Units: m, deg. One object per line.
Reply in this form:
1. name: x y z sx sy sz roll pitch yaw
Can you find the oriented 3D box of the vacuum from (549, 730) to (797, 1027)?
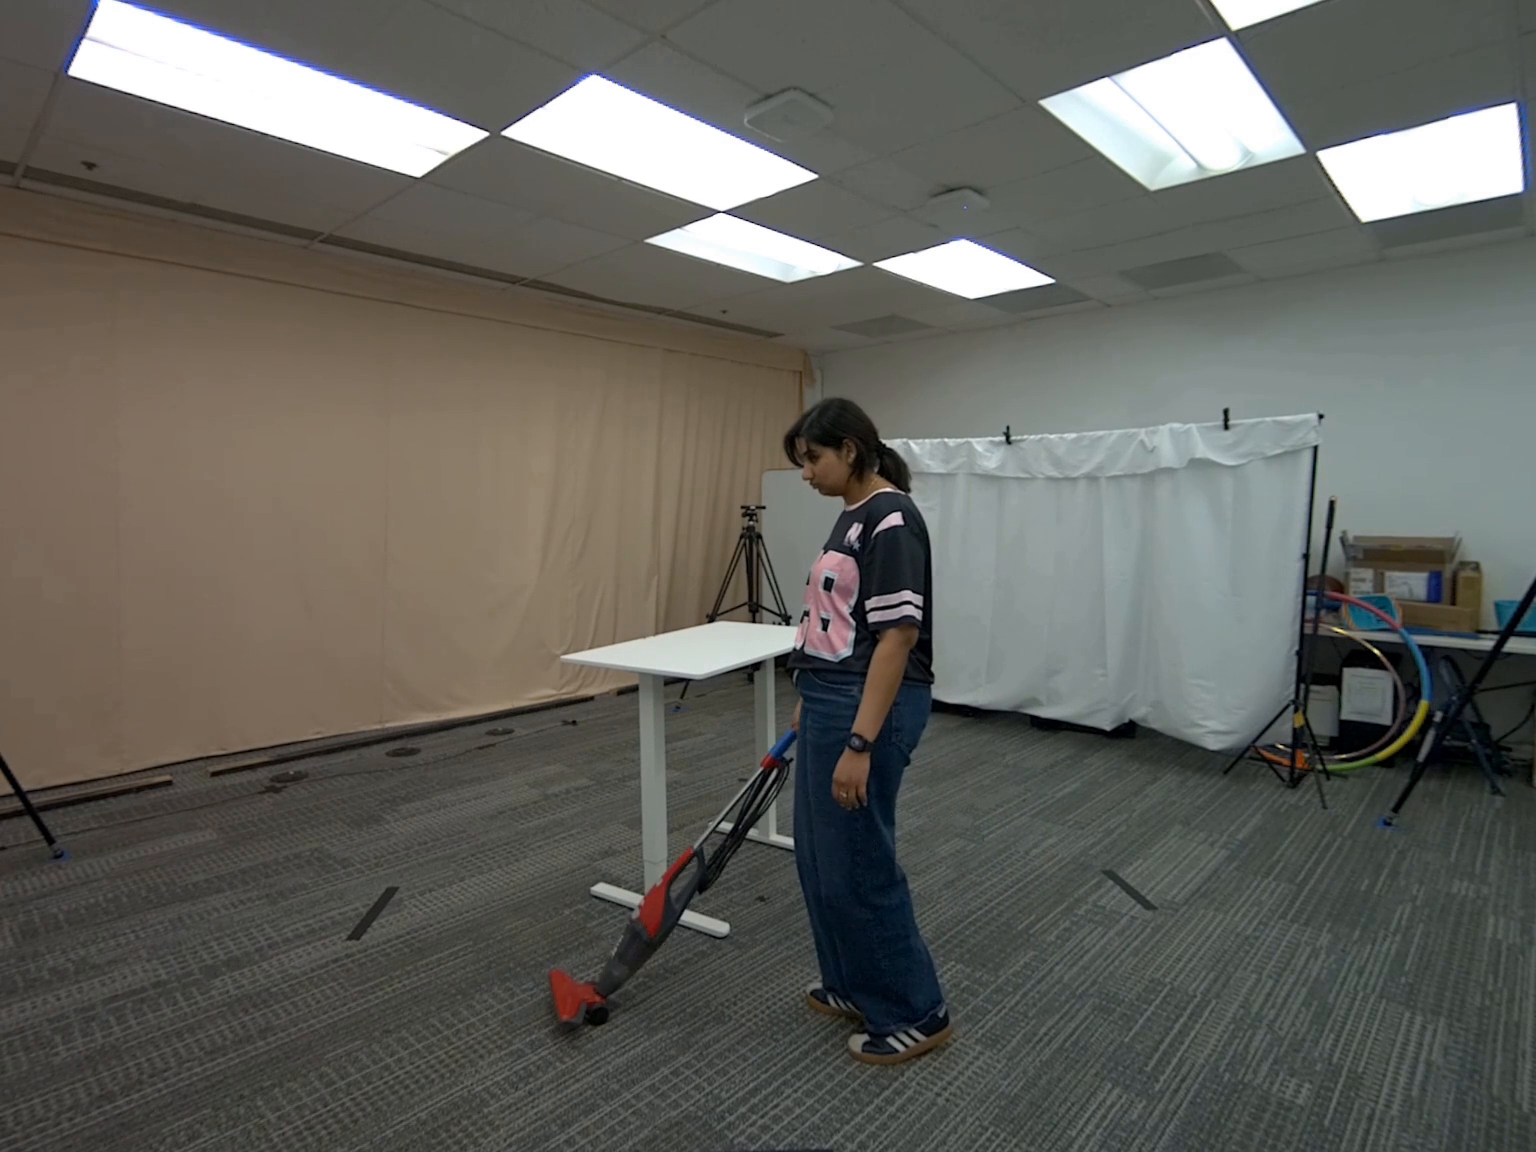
1. vacuum: -0.179 0.818 2.409 1.045 0.141 0.259 -46 20 -13
